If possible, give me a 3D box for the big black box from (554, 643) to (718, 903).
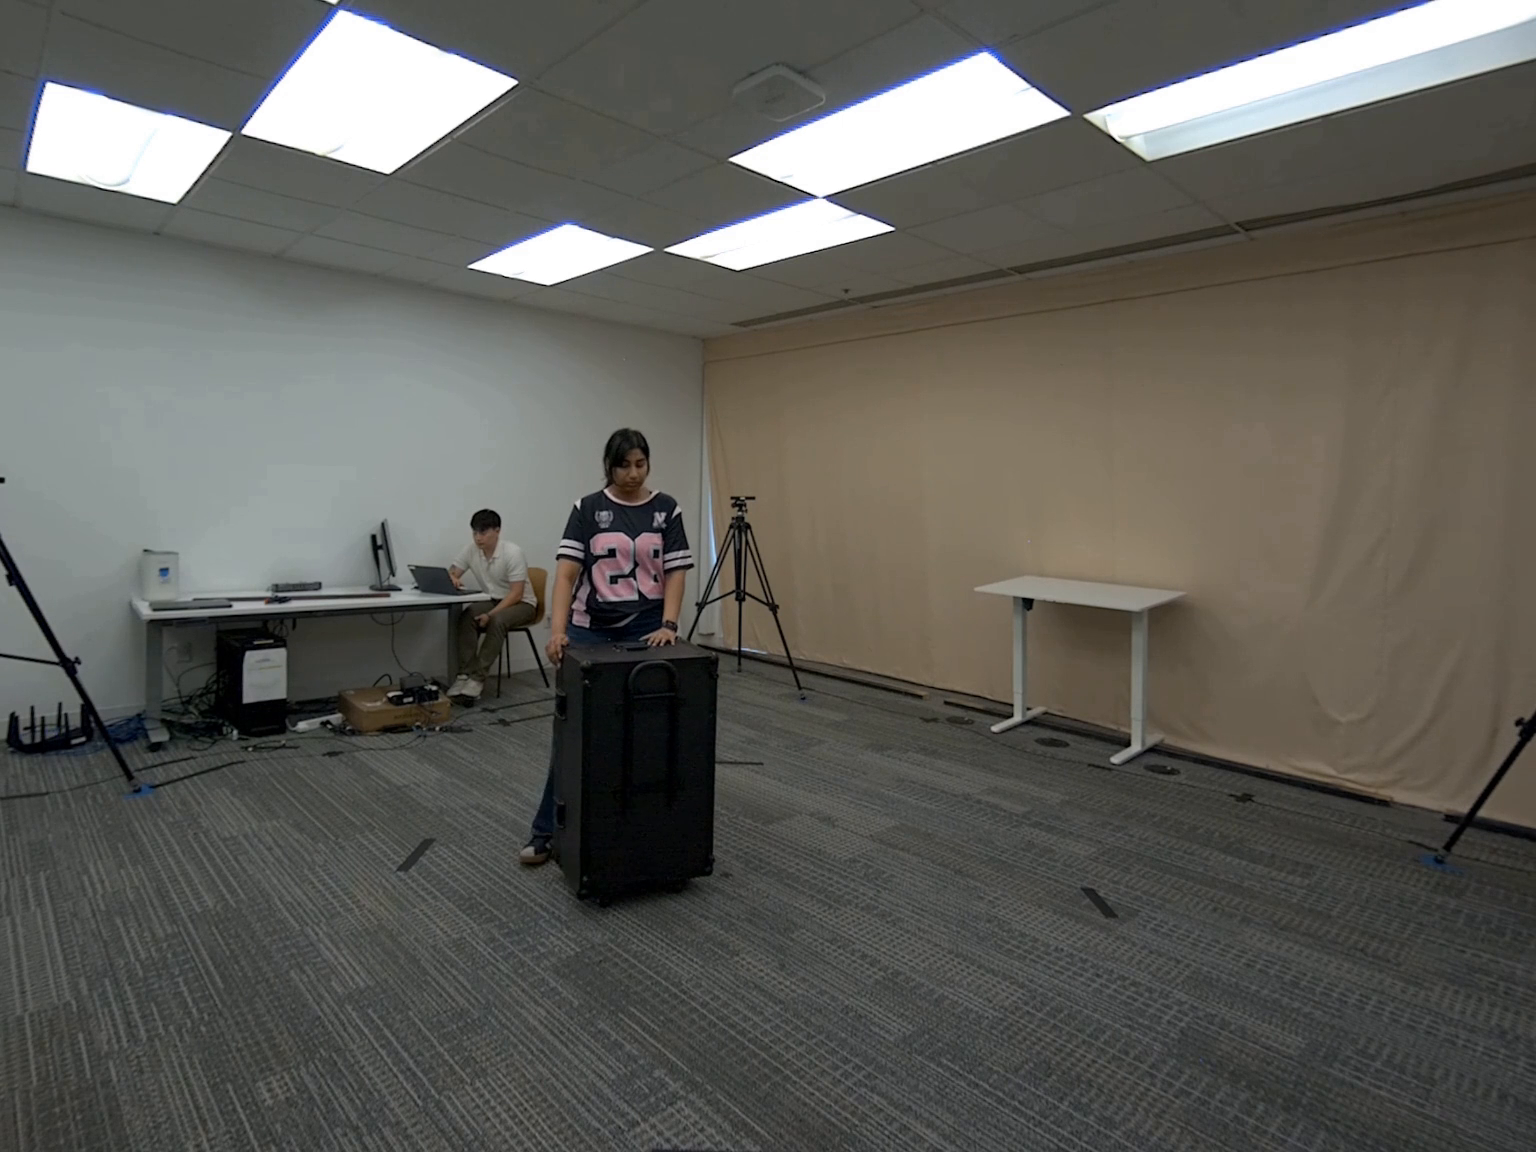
[{"bbox_3d":[-0.472,0.688,2.976,0.513,0.866,0.393,-1,4,-27],"label":"big black box"}]
